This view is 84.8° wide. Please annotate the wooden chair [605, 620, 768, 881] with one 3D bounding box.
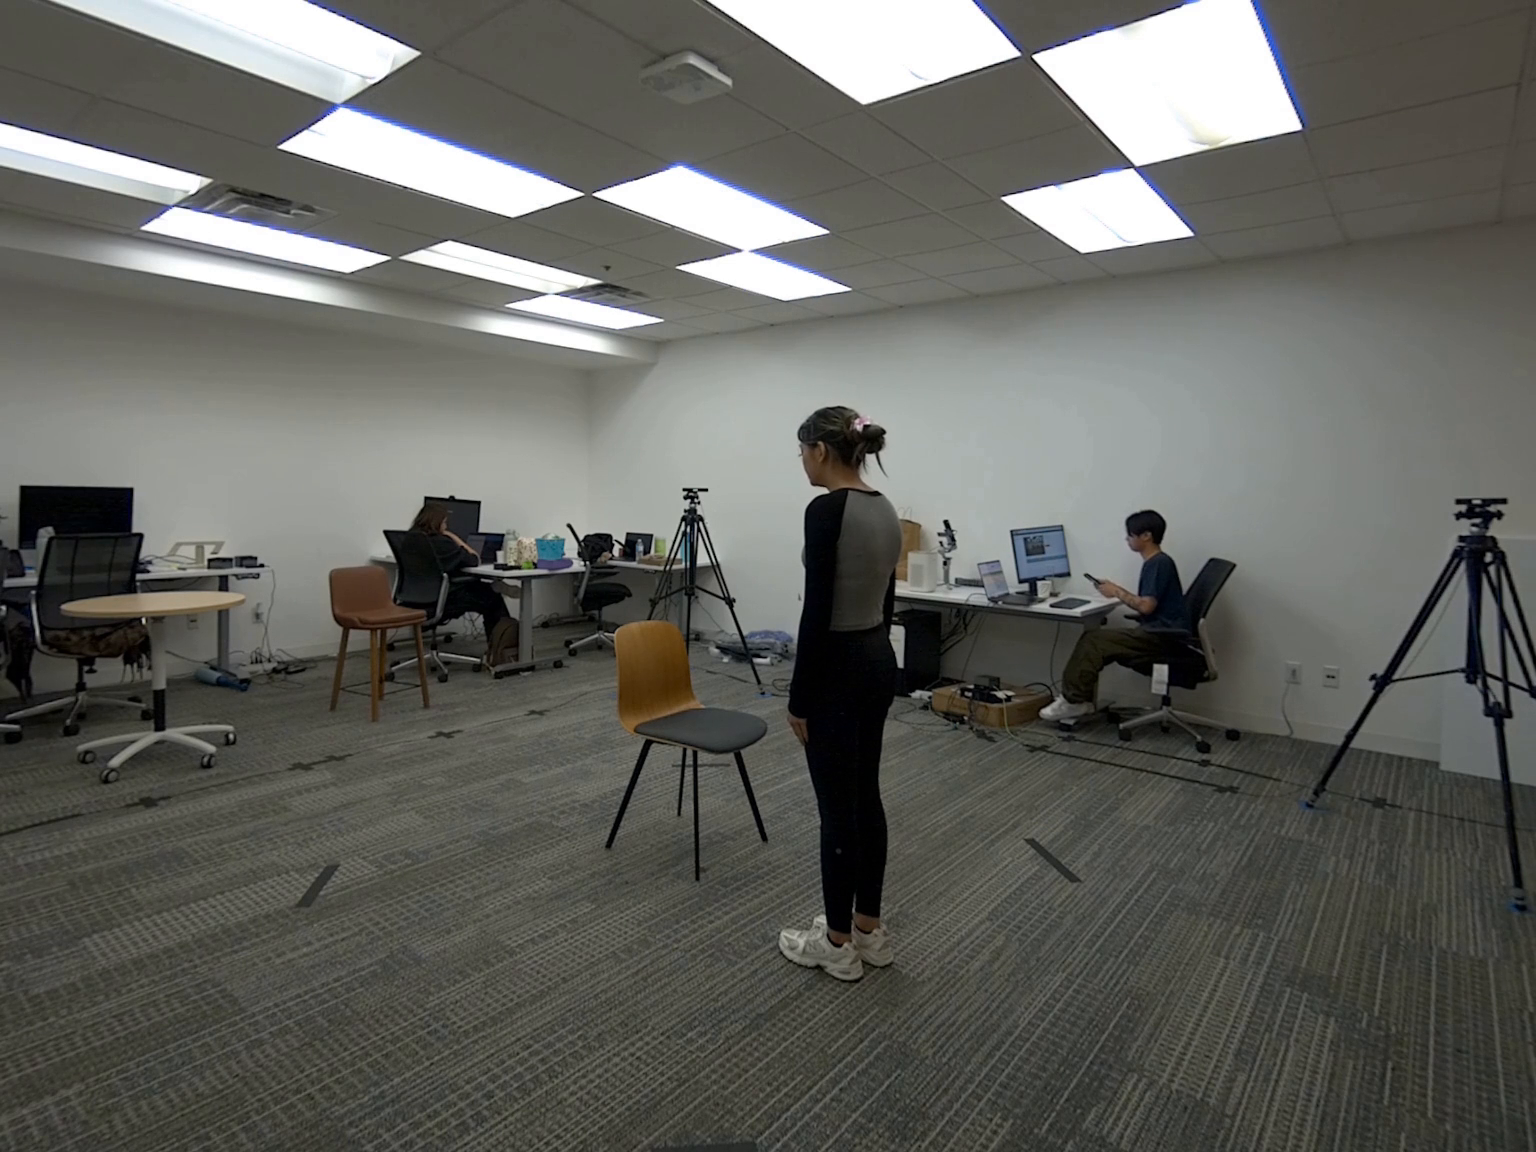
[{"bbox_3d":[-0.308,0.621,3.289,0.538,0.877,0.464,-2,0,35],"label":"wooden chair"}]
